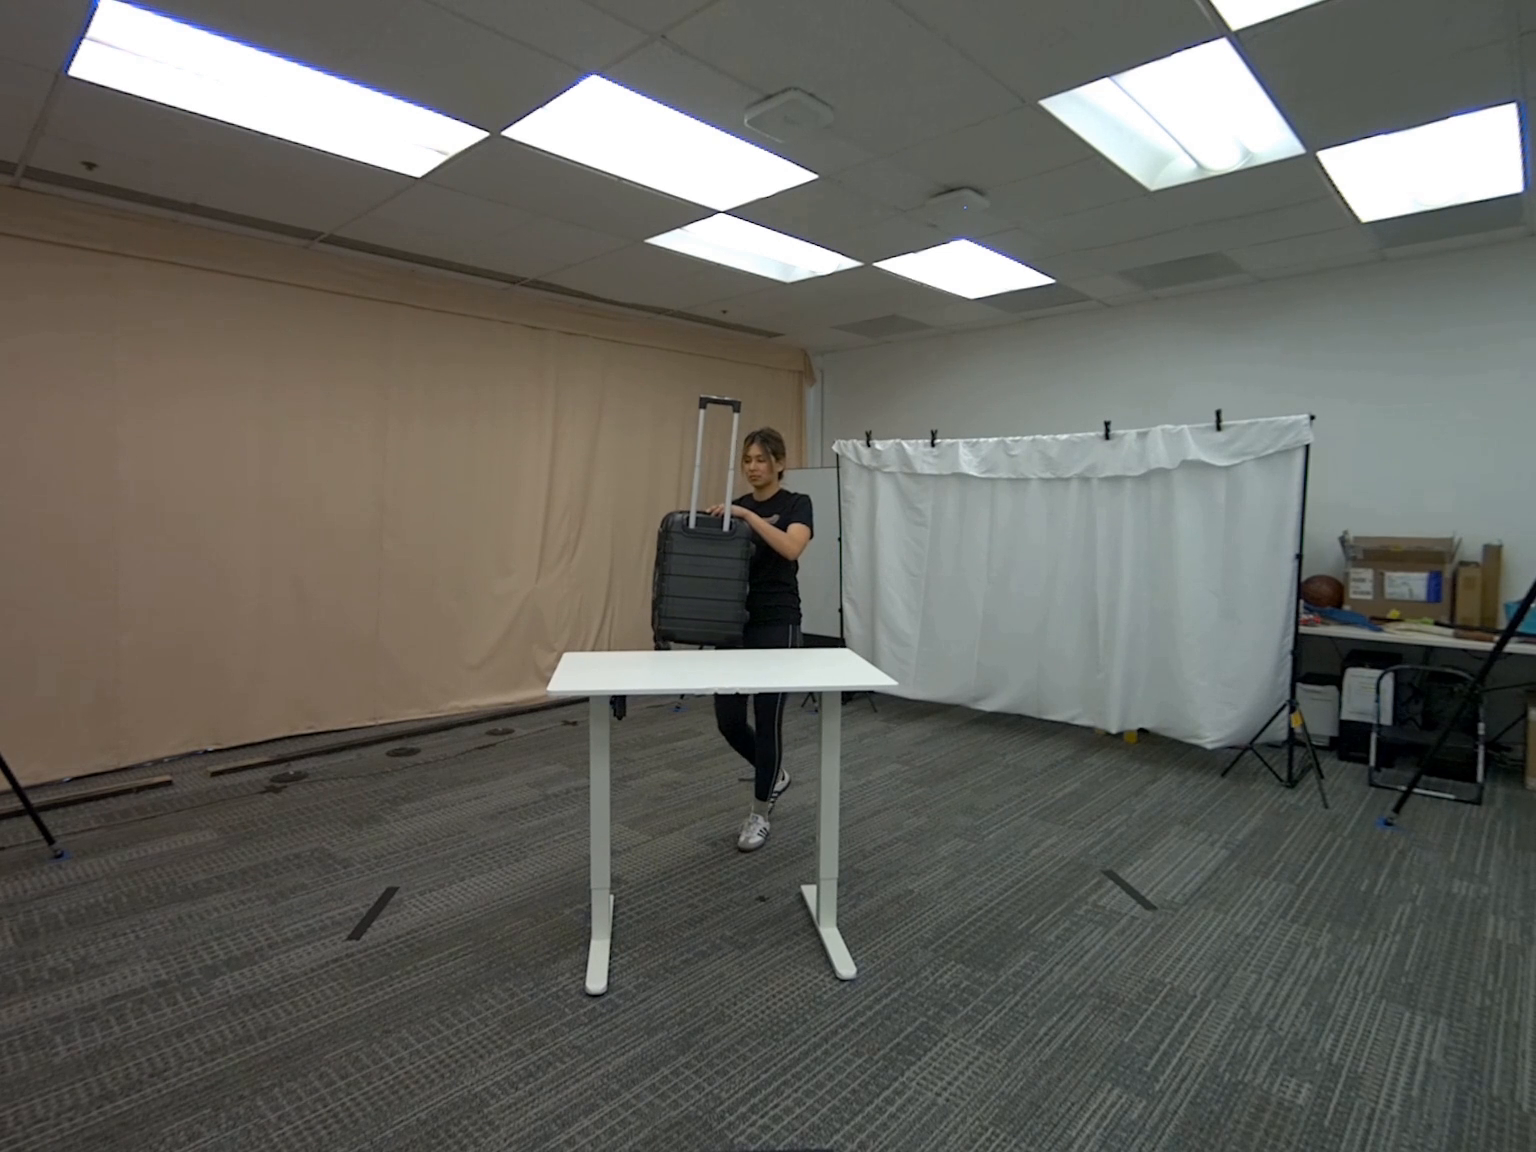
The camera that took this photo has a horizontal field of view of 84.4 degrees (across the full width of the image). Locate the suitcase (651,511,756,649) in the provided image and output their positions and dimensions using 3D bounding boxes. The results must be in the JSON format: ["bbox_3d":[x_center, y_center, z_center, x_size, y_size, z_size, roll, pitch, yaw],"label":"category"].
[{"bbox_3d":[-0.246,-0.187,3.281,0.382,0.979,0.258,5,-1,-5],"label":"suitcase"}]
